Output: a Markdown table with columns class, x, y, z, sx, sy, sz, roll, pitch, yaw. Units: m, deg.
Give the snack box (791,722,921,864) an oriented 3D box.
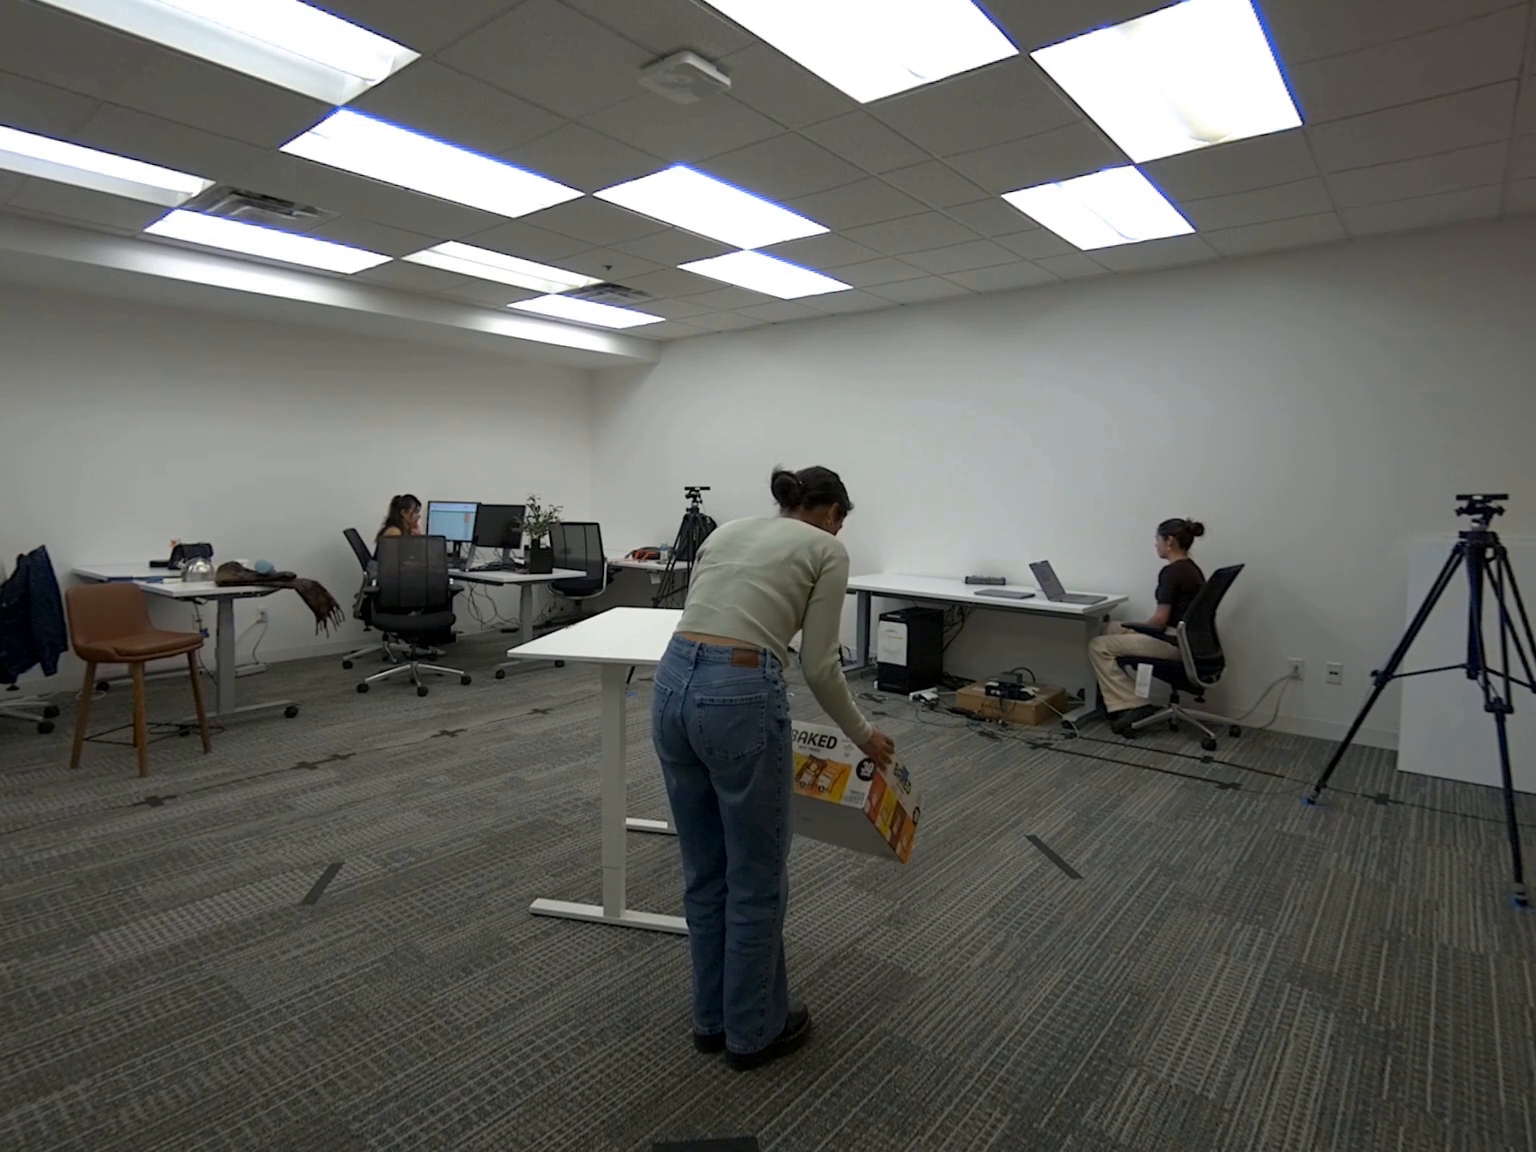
| class | x | y | z | sx | sy | sz | roll | pitch | yaw |
| --- | --- | --- | --- | --- | --- | --- | --- | --- | --- |
| snack box | 0.162 | 0.588 | 2.357 | 0.418 | 0.207 | 0.327 | 3 | -39 | 35 |
